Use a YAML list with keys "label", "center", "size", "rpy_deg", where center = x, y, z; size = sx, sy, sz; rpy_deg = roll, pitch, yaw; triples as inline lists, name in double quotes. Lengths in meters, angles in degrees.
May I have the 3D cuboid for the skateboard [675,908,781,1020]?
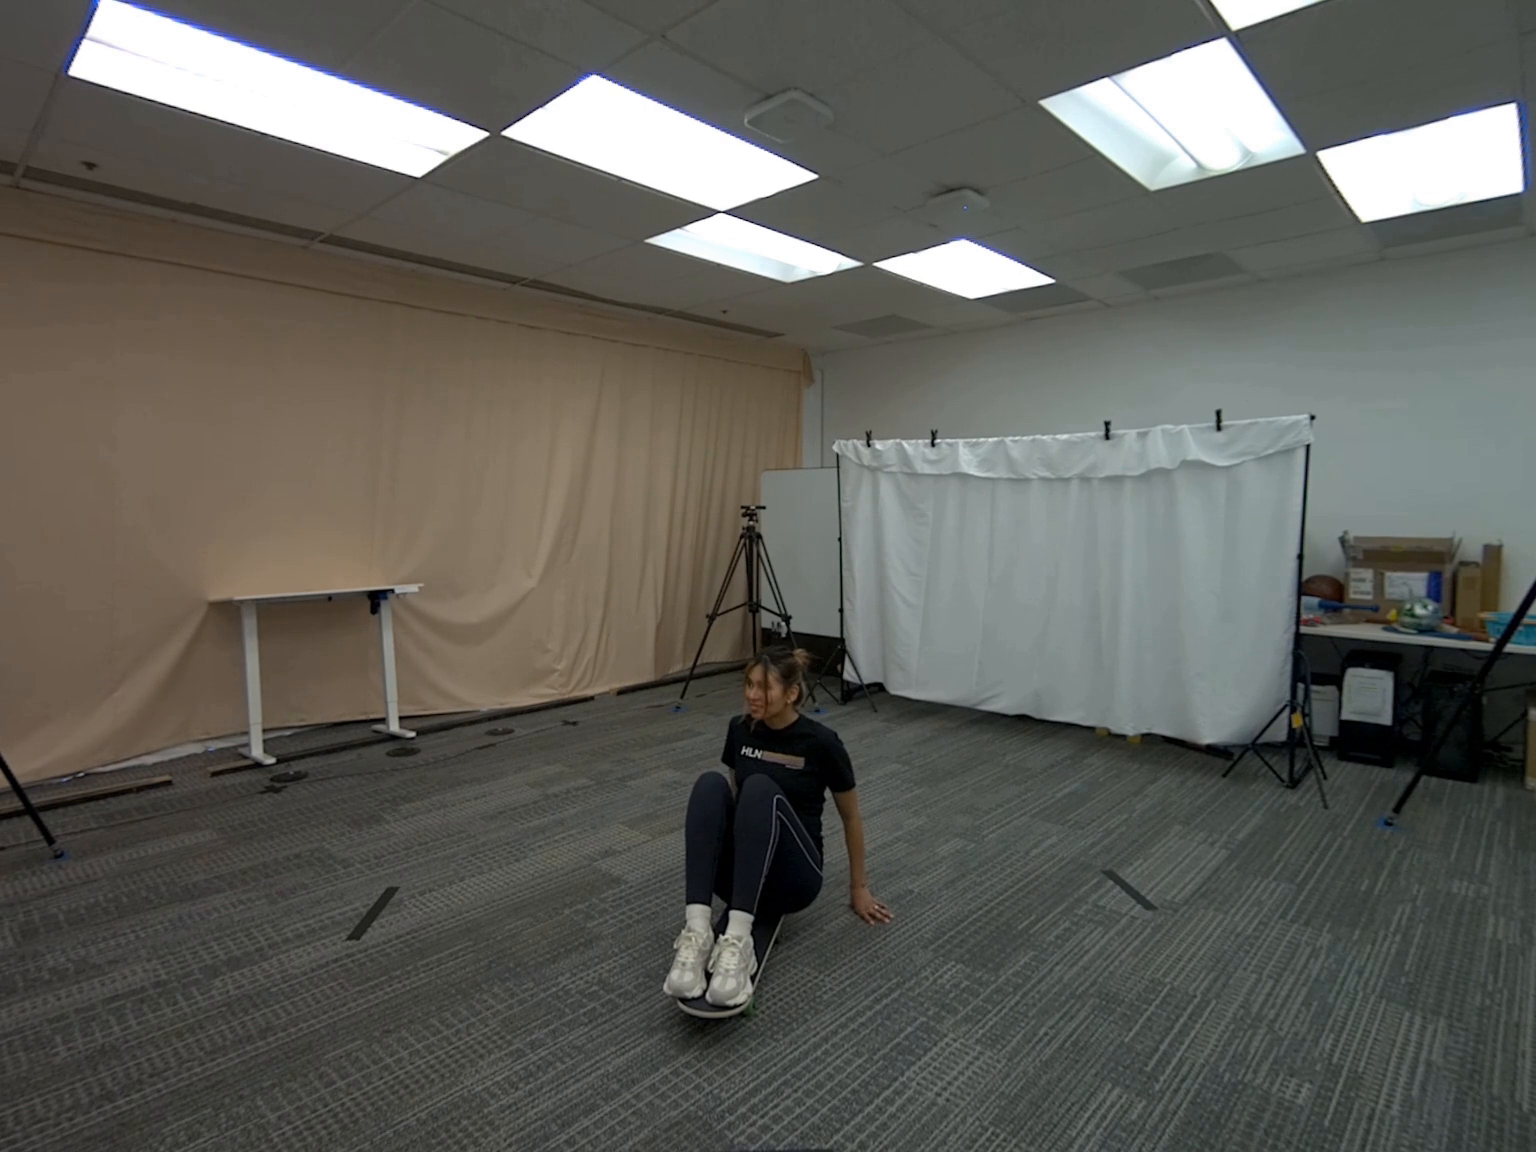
- label: "skateboard"
  center: [-0.092, 1.131, 2.522]
  size: [0.196, 0.110, 0.775]
  rpy_deg: [-2, 4, 13]
